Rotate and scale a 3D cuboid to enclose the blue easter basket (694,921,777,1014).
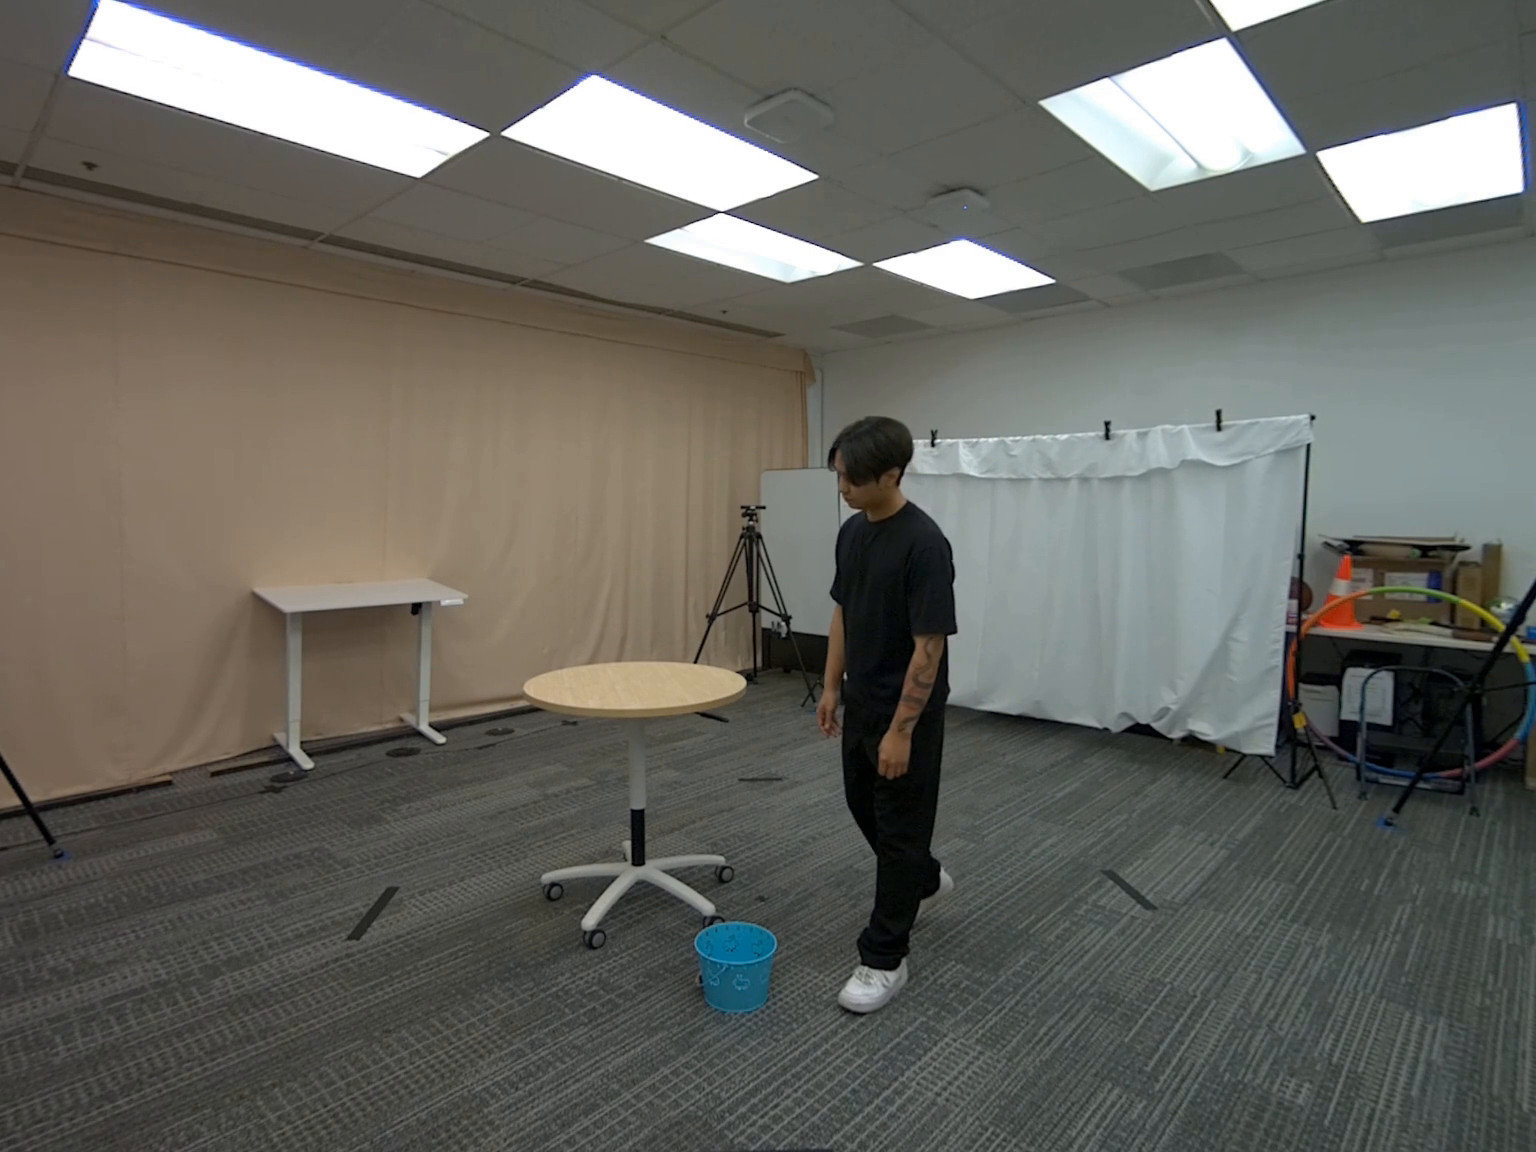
[{"bbox_3d":[-0.094,1.117,2.397,0.243,0.156,0.244,-1,3,-2],"label":"blue easter basket"}]
